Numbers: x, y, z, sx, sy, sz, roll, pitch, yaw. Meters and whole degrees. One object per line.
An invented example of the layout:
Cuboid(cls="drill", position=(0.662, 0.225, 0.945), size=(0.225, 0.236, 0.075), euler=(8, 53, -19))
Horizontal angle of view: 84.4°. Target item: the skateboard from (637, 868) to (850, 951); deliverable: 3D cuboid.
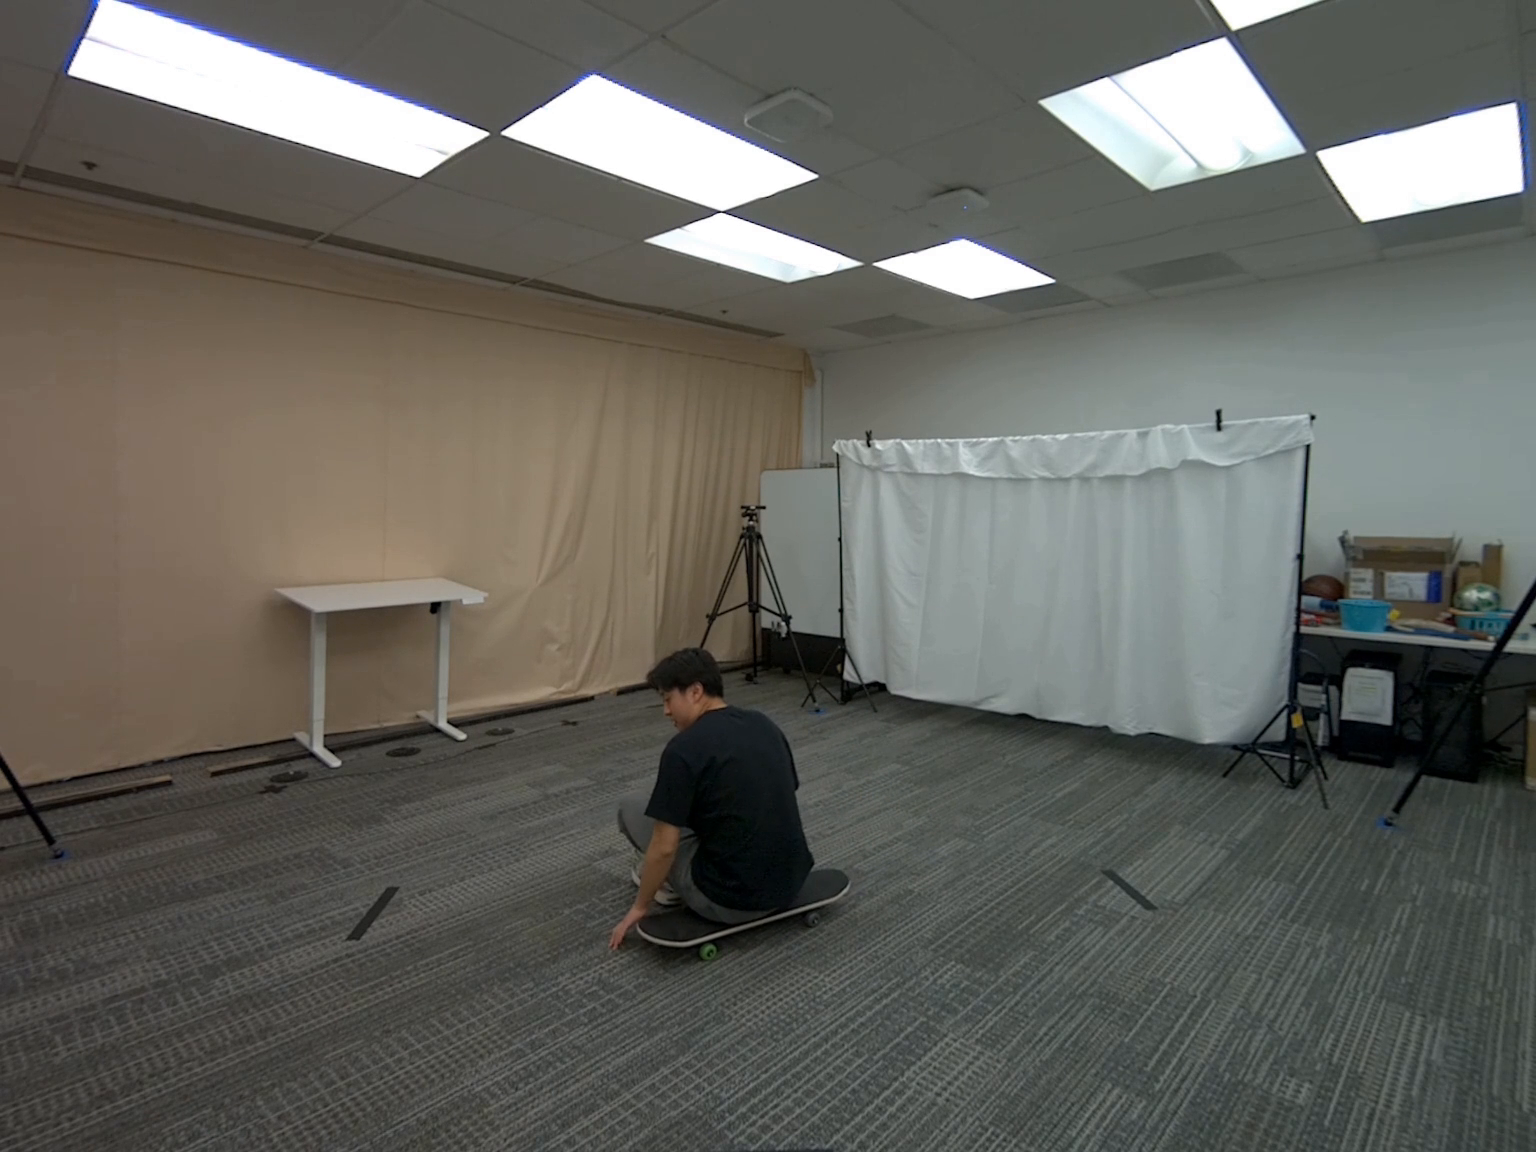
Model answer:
Cuboid(cls="skateboard", position=(-0.064, 1.111, 2.749), size=(0.764, 0.110, 0.199), euler=(-3, 8, -31))
